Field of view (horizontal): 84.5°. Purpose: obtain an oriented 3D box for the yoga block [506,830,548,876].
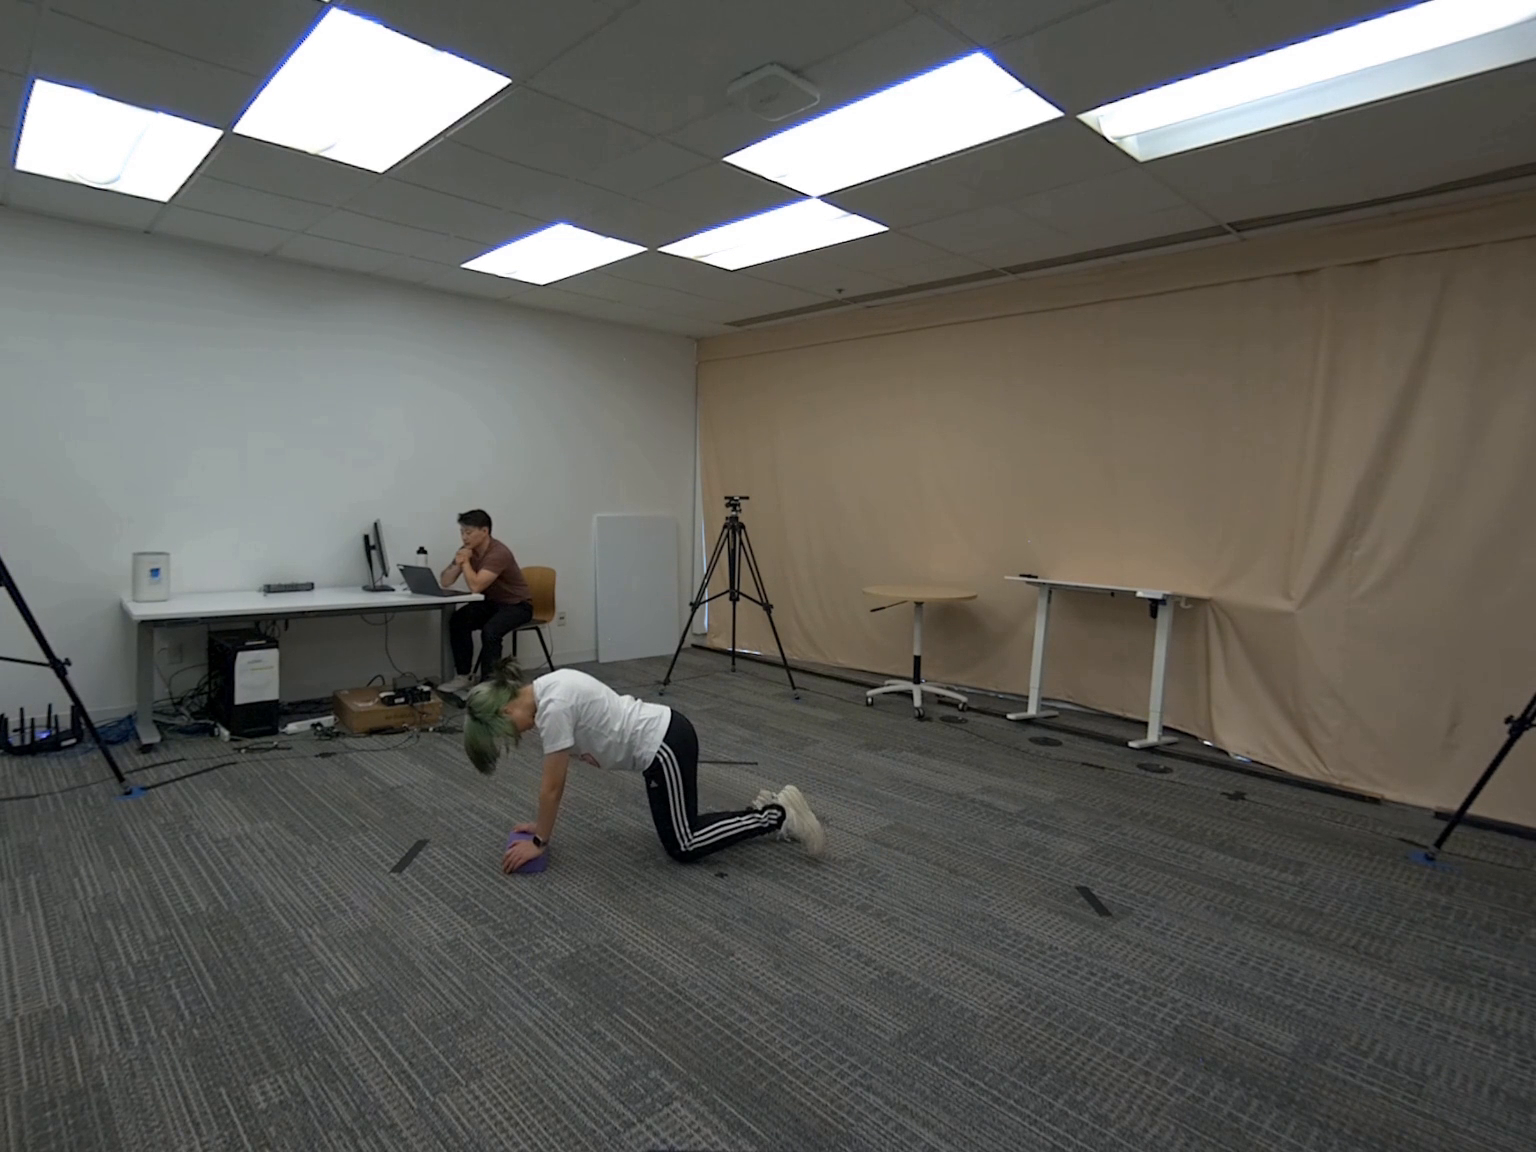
[{"bbox_3d":[-0.910,1.038,3.197,0.148,0.076,0.232,0,6,-9],"label":"yoga block"}]
